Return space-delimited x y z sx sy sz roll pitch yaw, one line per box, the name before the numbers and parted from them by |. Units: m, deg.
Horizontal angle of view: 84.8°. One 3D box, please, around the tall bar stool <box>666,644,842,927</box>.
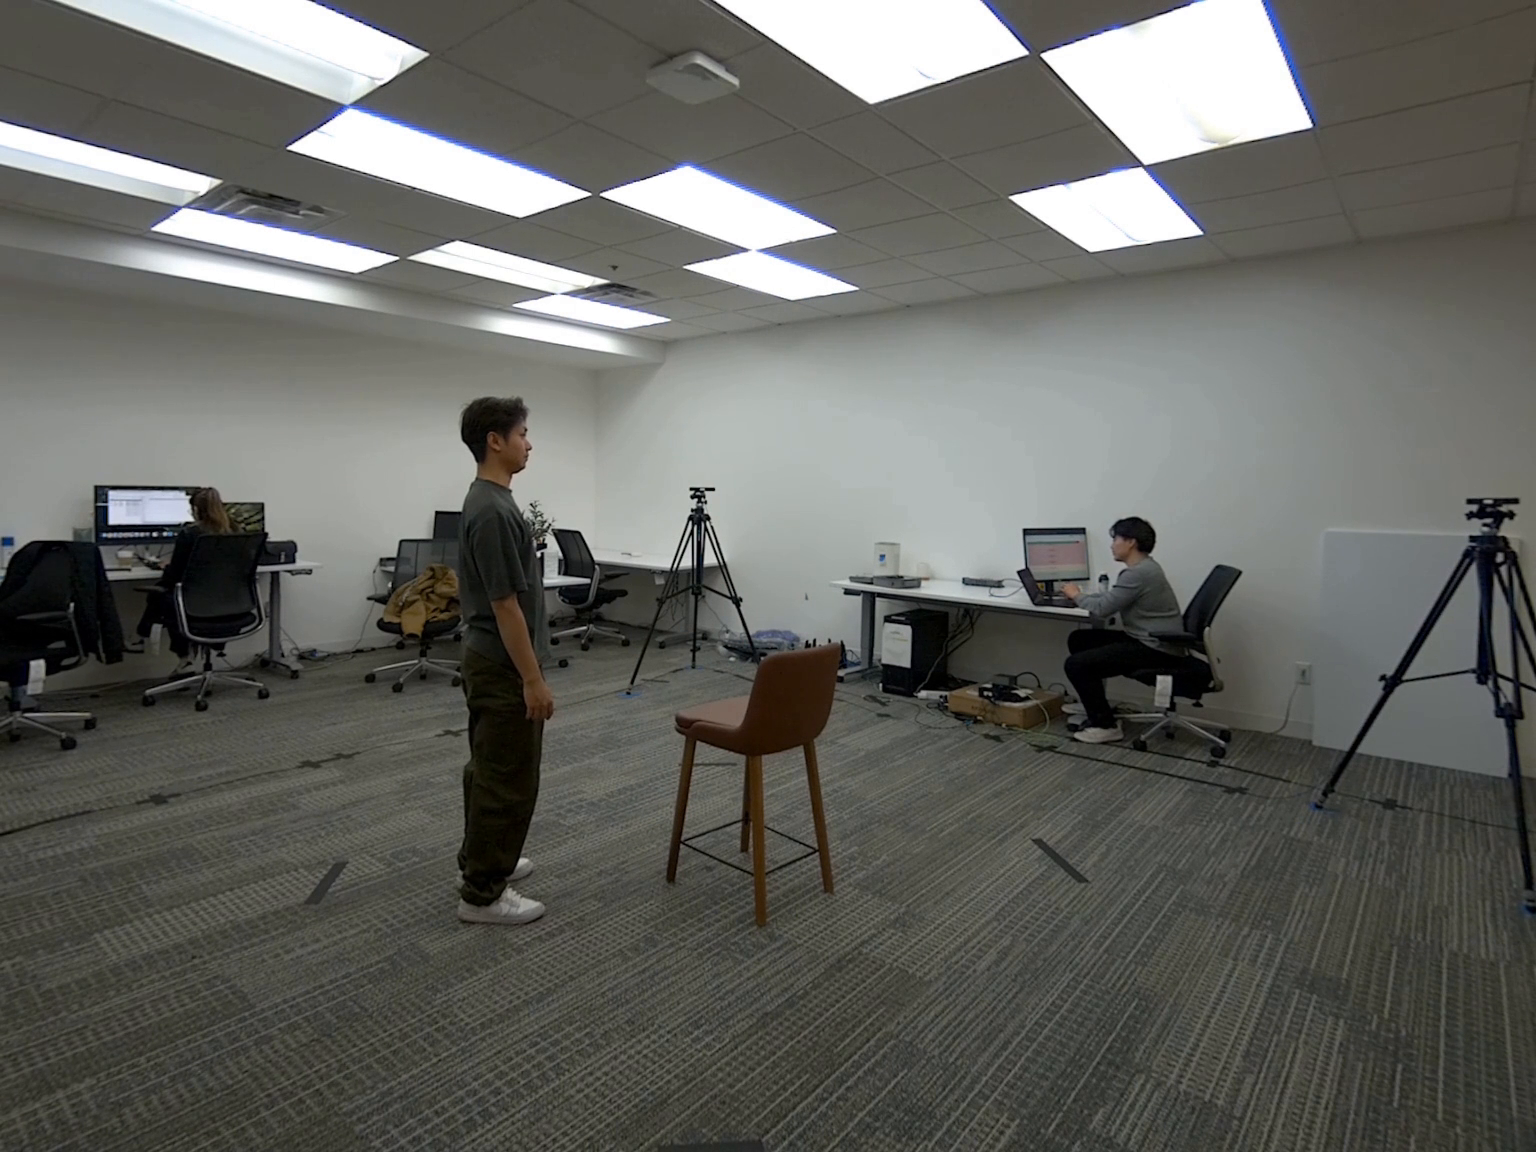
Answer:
tall bar stool | -0.054 0.652 2.956 0.484 0.886 0.442 7 6 43
